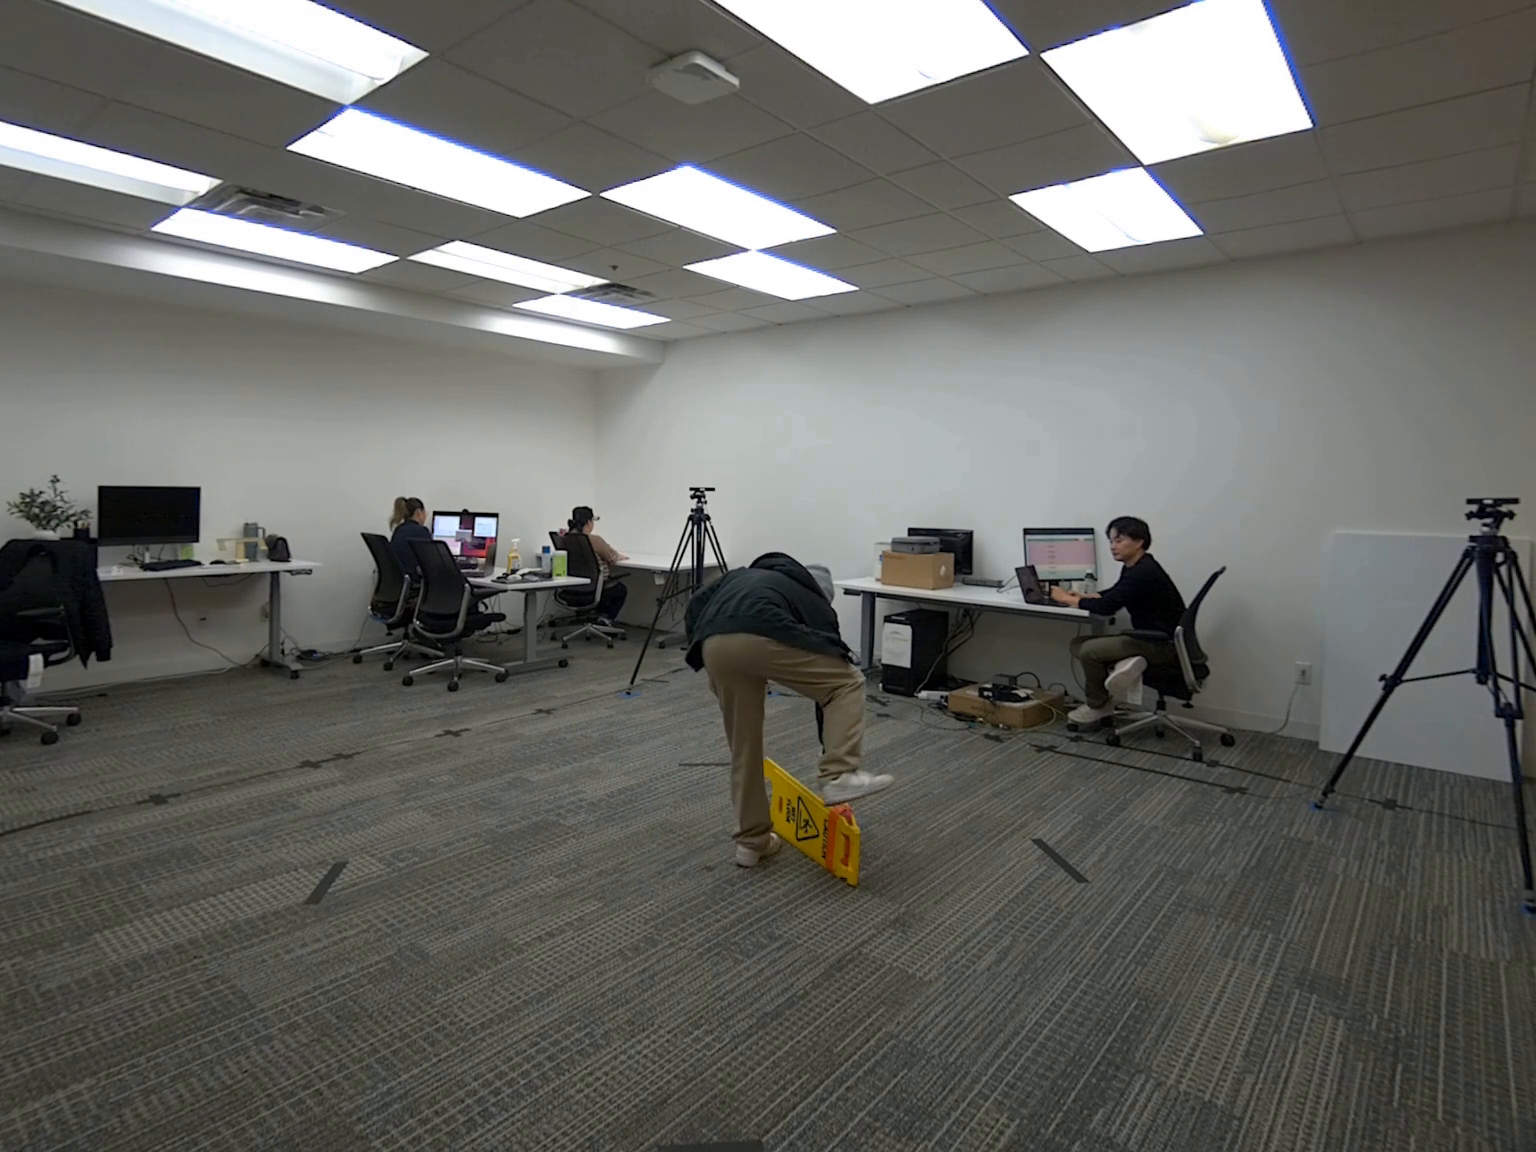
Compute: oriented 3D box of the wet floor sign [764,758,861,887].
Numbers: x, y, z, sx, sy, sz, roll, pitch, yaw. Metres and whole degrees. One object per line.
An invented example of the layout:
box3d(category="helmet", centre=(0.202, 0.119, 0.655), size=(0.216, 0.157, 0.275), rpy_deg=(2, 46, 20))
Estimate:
box3d(category="wet floor sign", centre=(0.204, 0.931, 3.279), size=(0.284, 0.280, 0.662), rpy_deg=(0, 8, -19))
